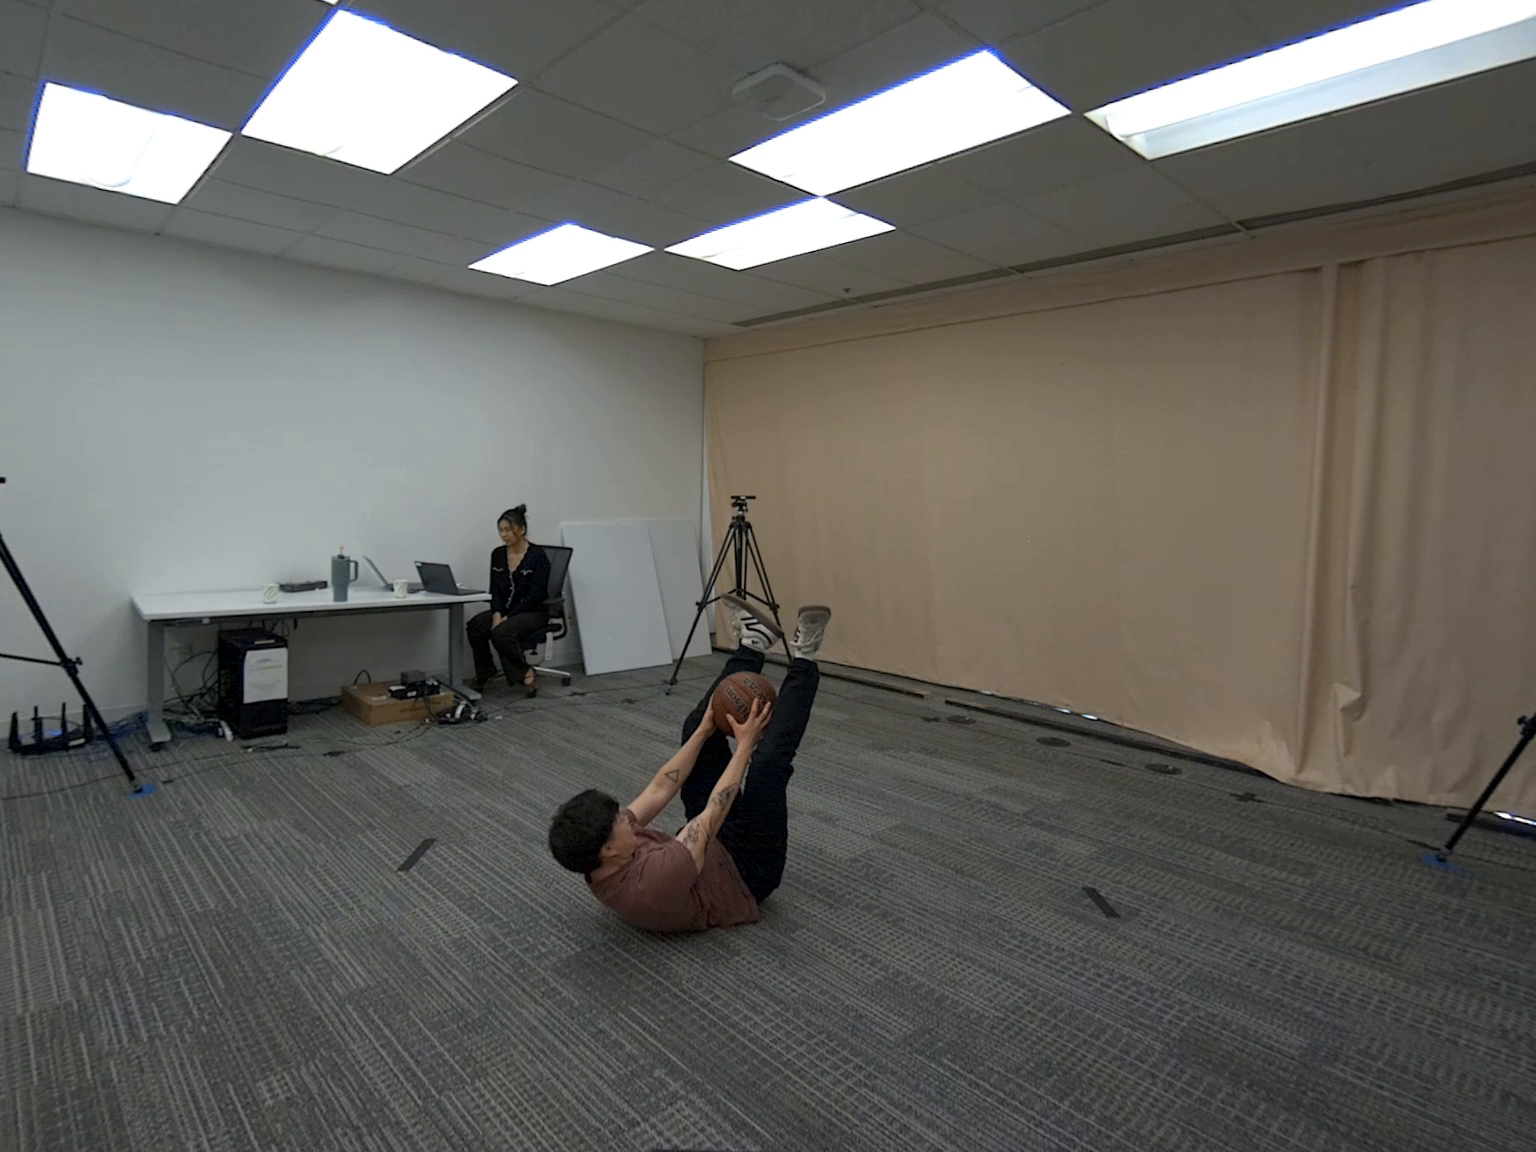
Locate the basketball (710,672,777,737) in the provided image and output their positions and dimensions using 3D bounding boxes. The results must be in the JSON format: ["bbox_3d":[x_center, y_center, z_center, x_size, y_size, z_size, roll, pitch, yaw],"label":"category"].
[{"bbox_3d":[-0.093,0.450,2.947,0.236,0.235,0.237,2,4,-2],"label":"basketball"}]
